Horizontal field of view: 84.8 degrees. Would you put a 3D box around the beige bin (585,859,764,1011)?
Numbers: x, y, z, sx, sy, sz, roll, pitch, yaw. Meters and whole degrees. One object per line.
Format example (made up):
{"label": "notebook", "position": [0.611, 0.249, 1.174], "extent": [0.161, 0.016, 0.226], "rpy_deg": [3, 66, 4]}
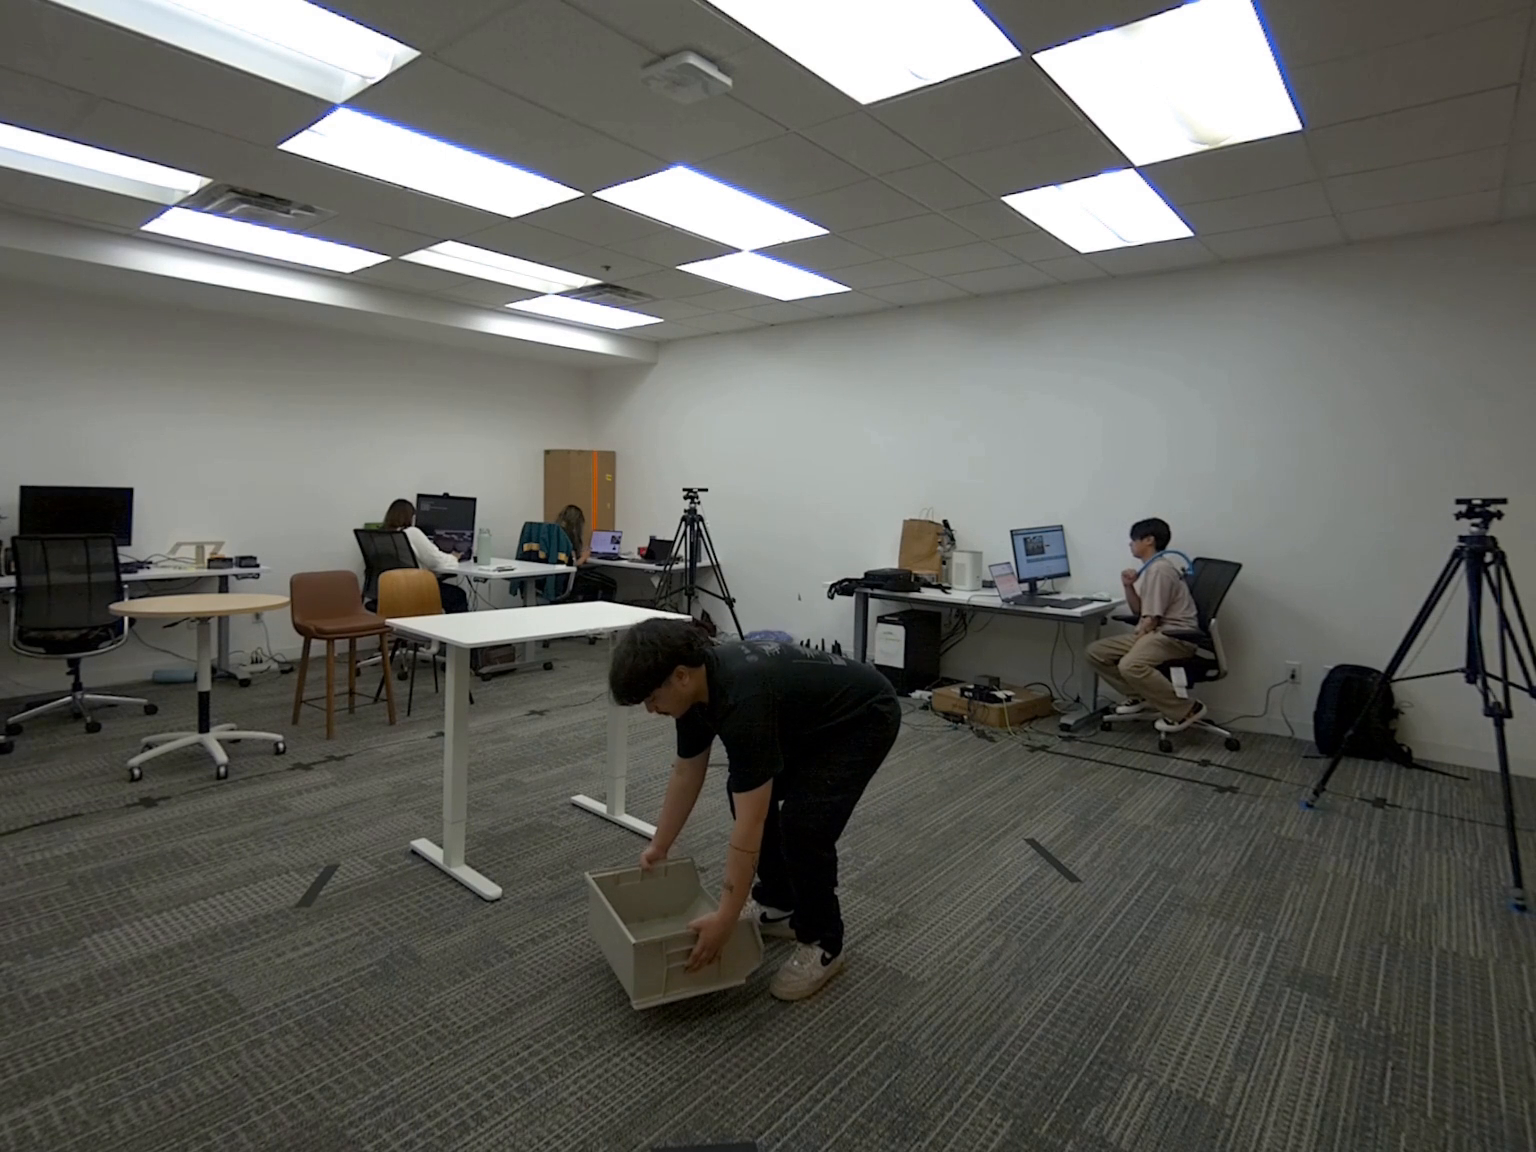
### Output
{"label": "beige bin", "position": [-0.277, 0.974, 2.377], "extent": [0.368, 0.188, 0.434], "rpy_deg": [-1, 6, -27]}
